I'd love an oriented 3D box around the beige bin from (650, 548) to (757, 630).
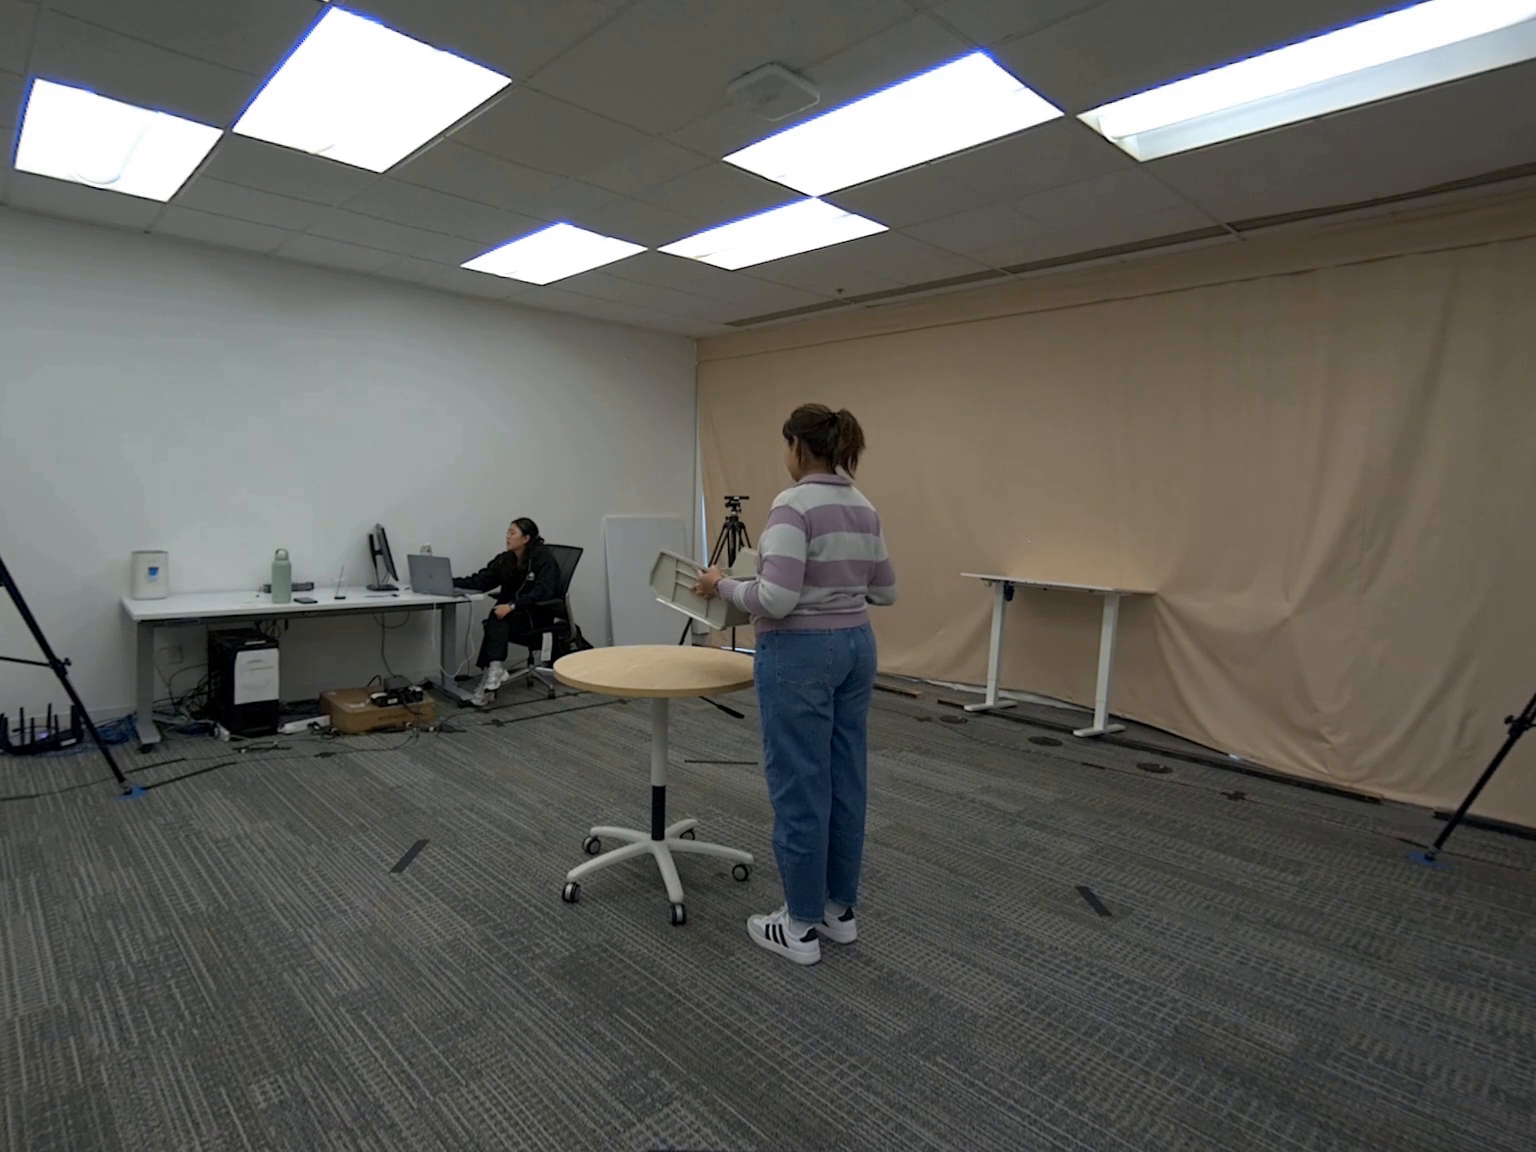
[{"bbox_3d":[-0.135,0.028,2.884,0.389,0.188,0.412,22,16,39],"label":"beige bin"}]
